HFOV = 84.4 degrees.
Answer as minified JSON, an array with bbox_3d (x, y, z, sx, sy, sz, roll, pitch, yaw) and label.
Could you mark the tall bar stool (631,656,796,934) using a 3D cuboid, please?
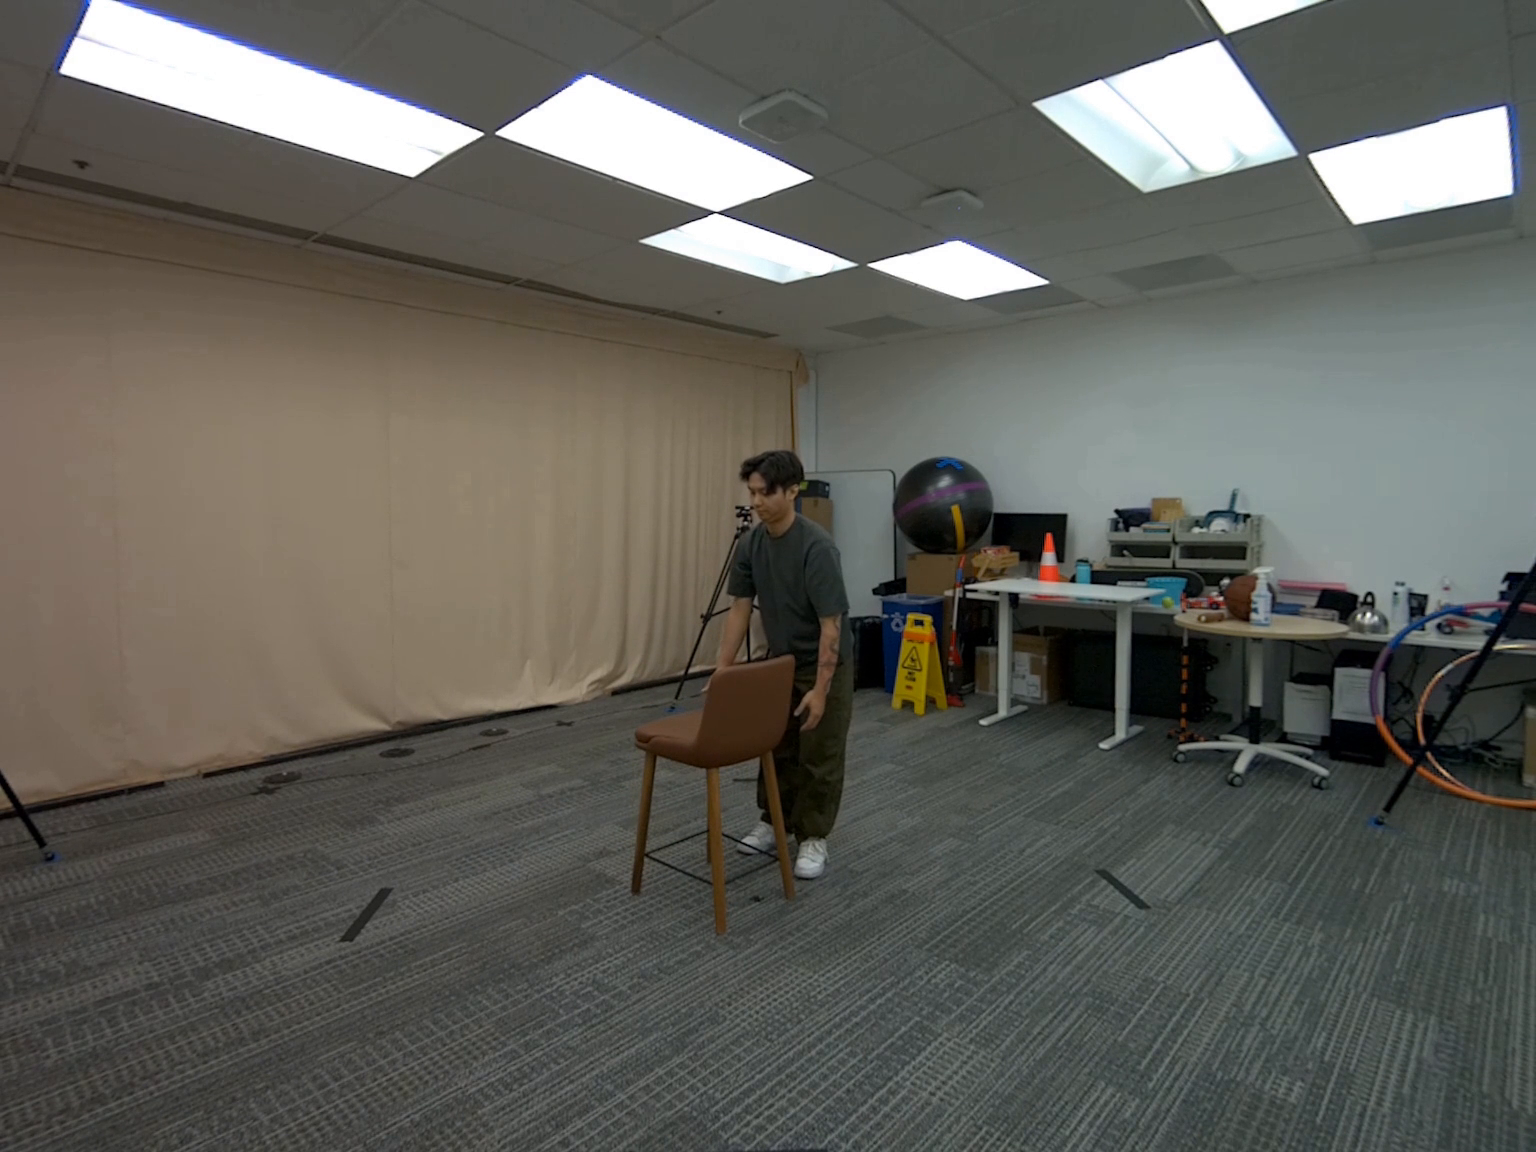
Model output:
[{"bbox_3d":[-0.189,0.708,2.988,0.483,0.887,0.442,6,7,43],"label":"tall bar stool"}]
